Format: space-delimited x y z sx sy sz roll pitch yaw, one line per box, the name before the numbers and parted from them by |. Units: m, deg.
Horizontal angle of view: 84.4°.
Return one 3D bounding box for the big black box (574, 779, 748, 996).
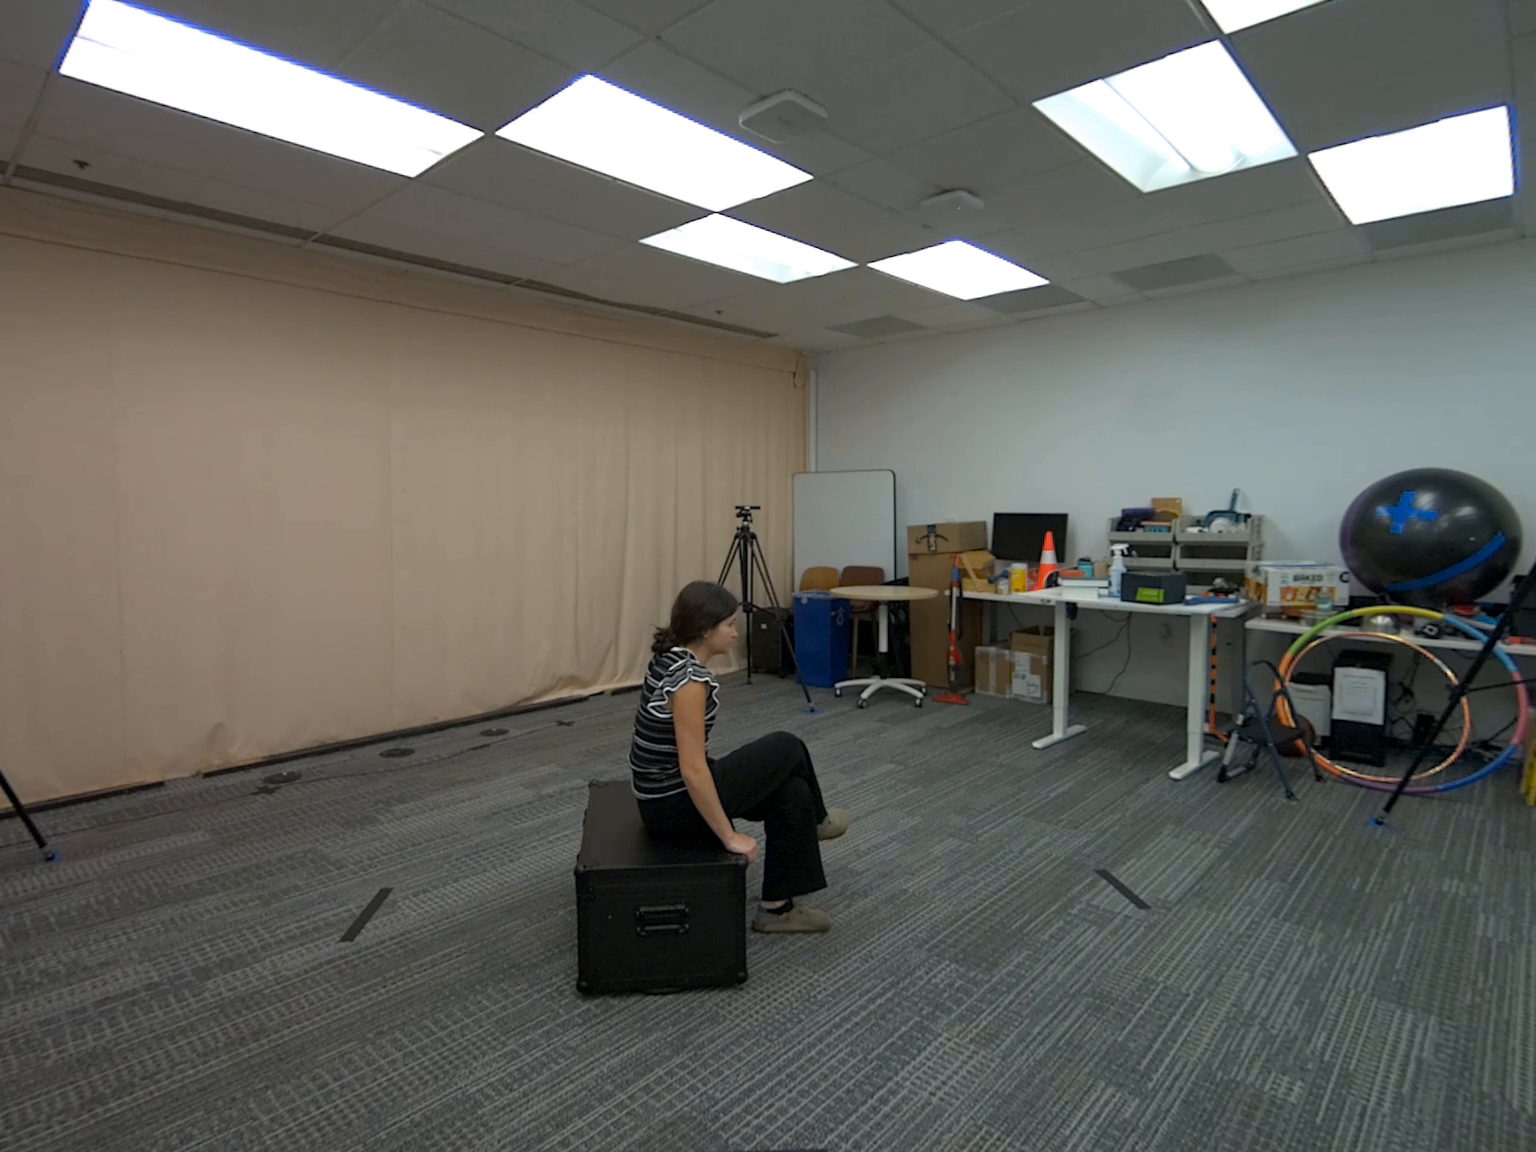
big black box | -0.359 0.968 2.803 0.517 0.395 0.871 -1 5 -9
